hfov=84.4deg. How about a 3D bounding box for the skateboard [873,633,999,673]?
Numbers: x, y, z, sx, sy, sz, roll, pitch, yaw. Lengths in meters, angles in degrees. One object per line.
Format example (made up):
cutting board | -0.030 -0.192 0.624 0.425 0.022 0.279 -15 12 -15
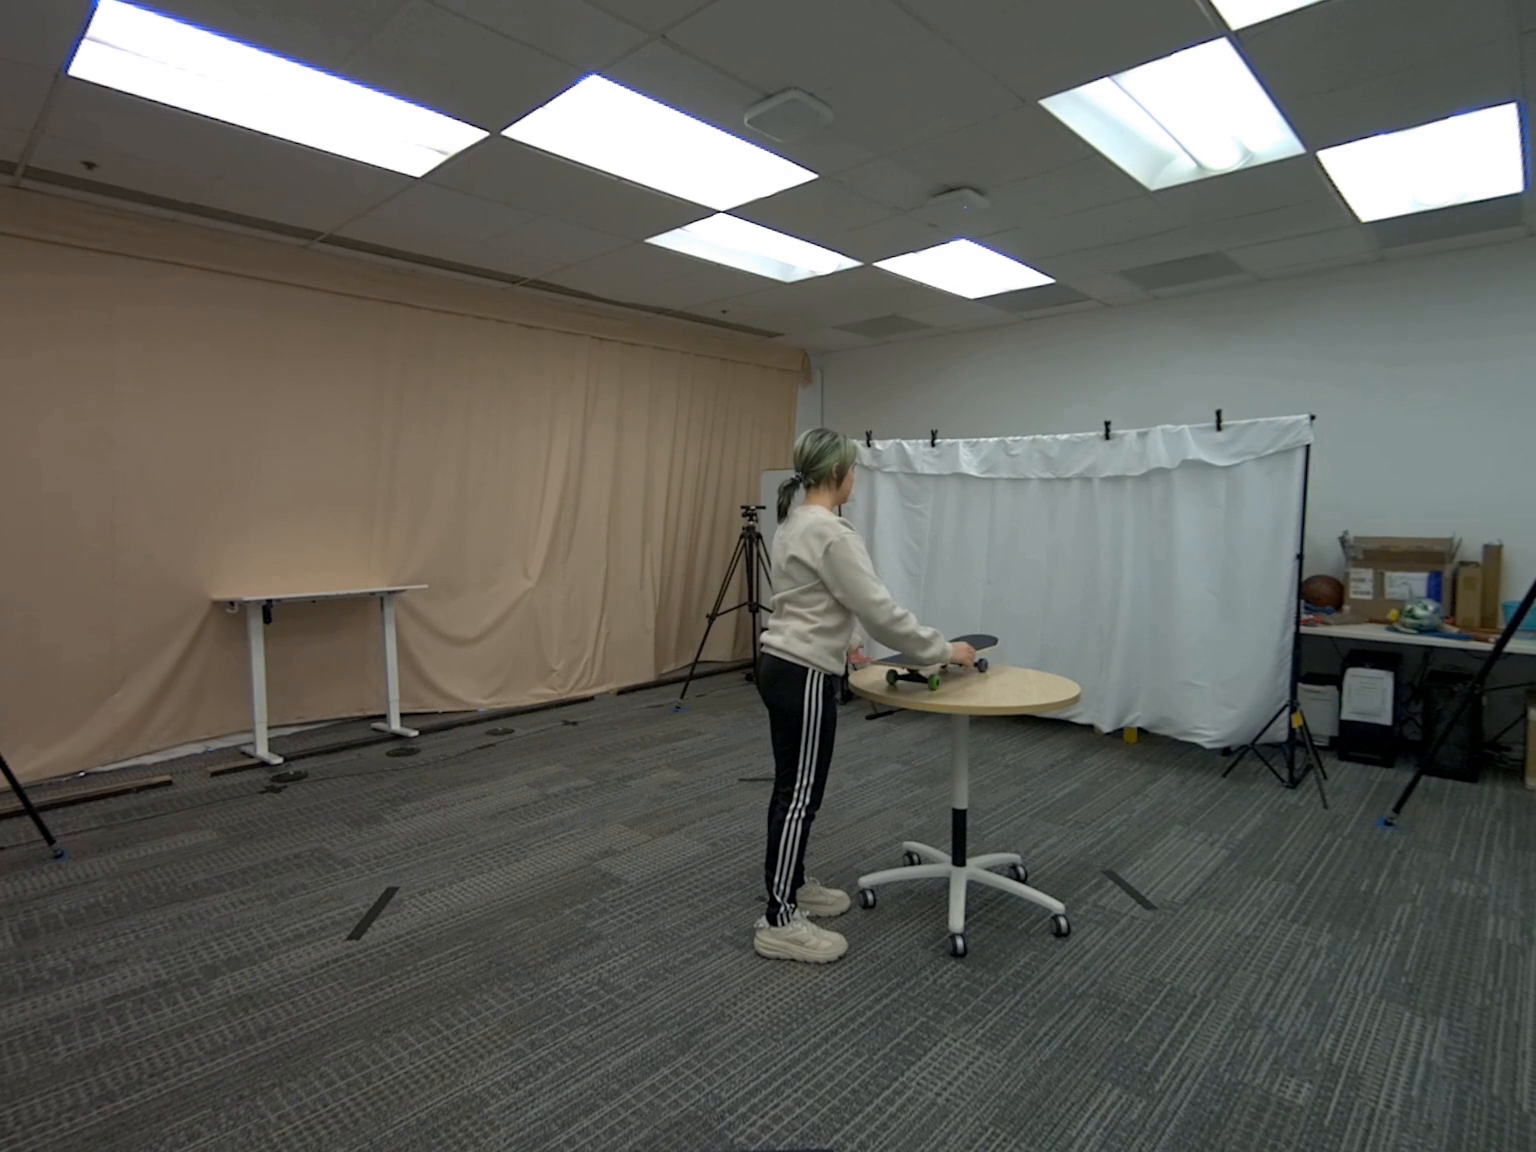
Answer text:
skateboard | 0.608 0.309 2.953 0.200 0.110 0.761 1 3 39
